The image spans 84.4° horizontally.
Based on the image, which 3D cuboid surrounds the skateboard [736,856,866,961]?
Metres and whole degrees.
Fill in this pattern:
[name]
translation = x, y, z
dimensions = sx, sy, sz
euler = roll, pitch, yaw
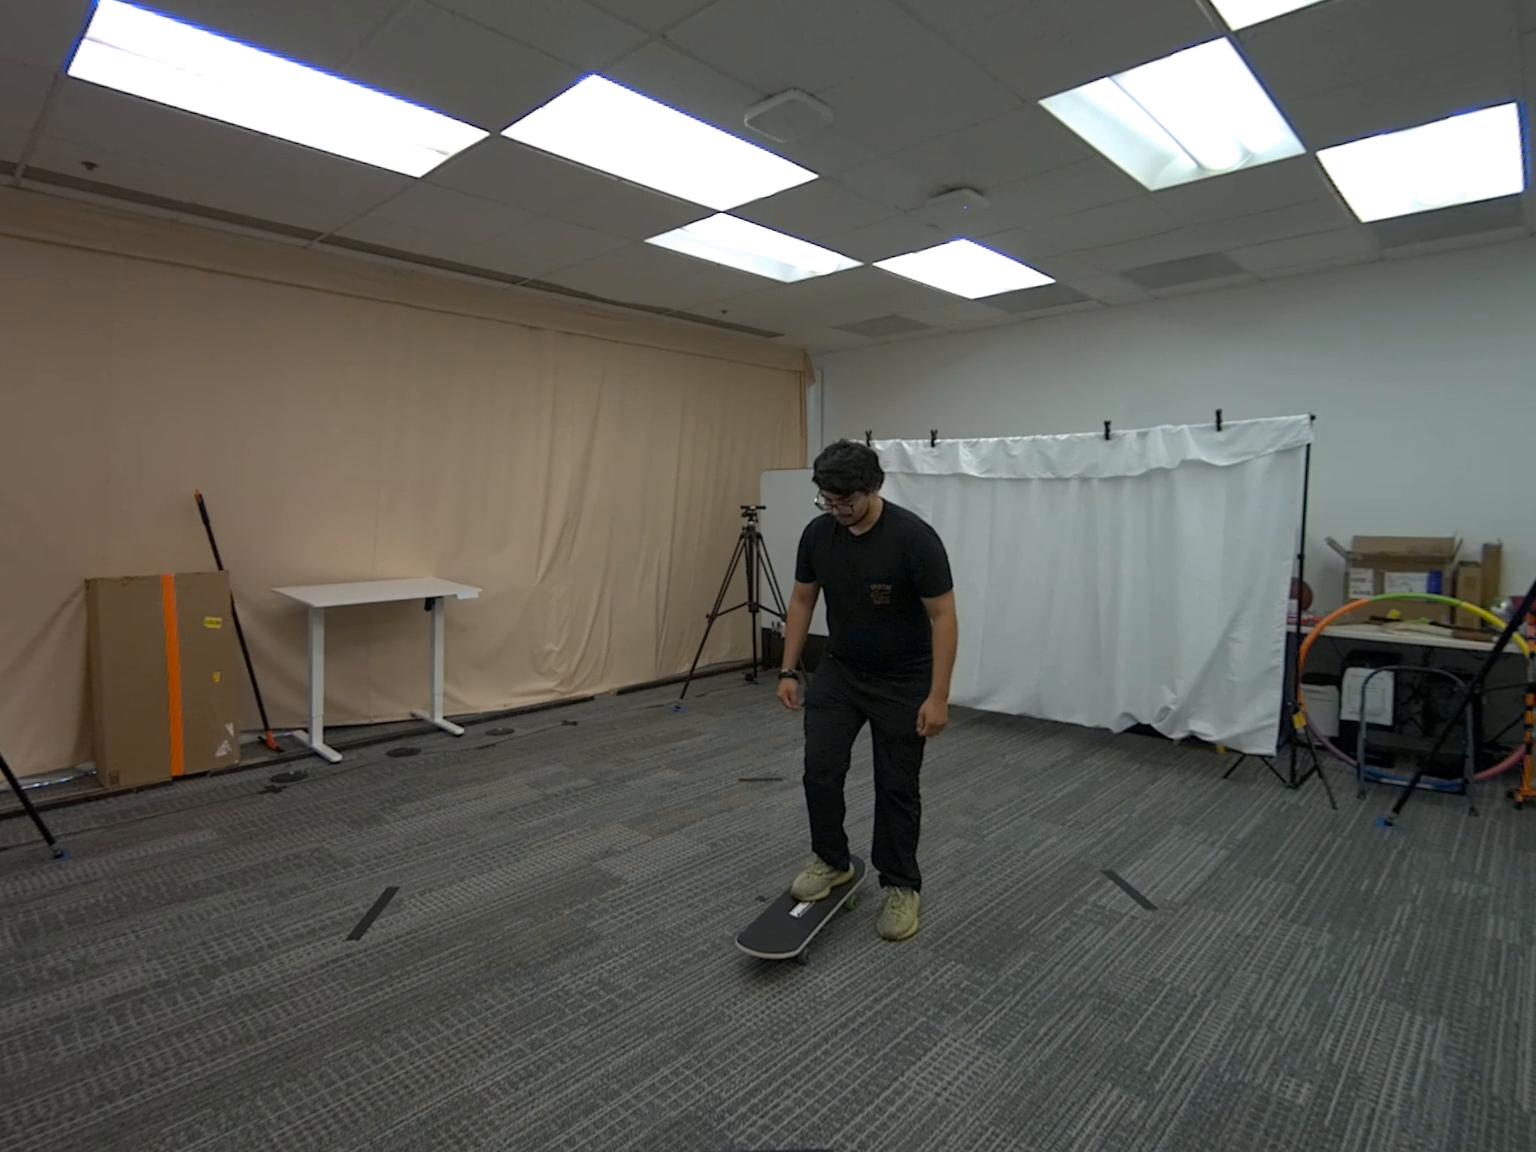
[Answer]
[skateboard]
translation = 0.135, 1.111, 2.765
dimensions = 0.199, 0.110, 0.766
euler = 3, 5, 27
